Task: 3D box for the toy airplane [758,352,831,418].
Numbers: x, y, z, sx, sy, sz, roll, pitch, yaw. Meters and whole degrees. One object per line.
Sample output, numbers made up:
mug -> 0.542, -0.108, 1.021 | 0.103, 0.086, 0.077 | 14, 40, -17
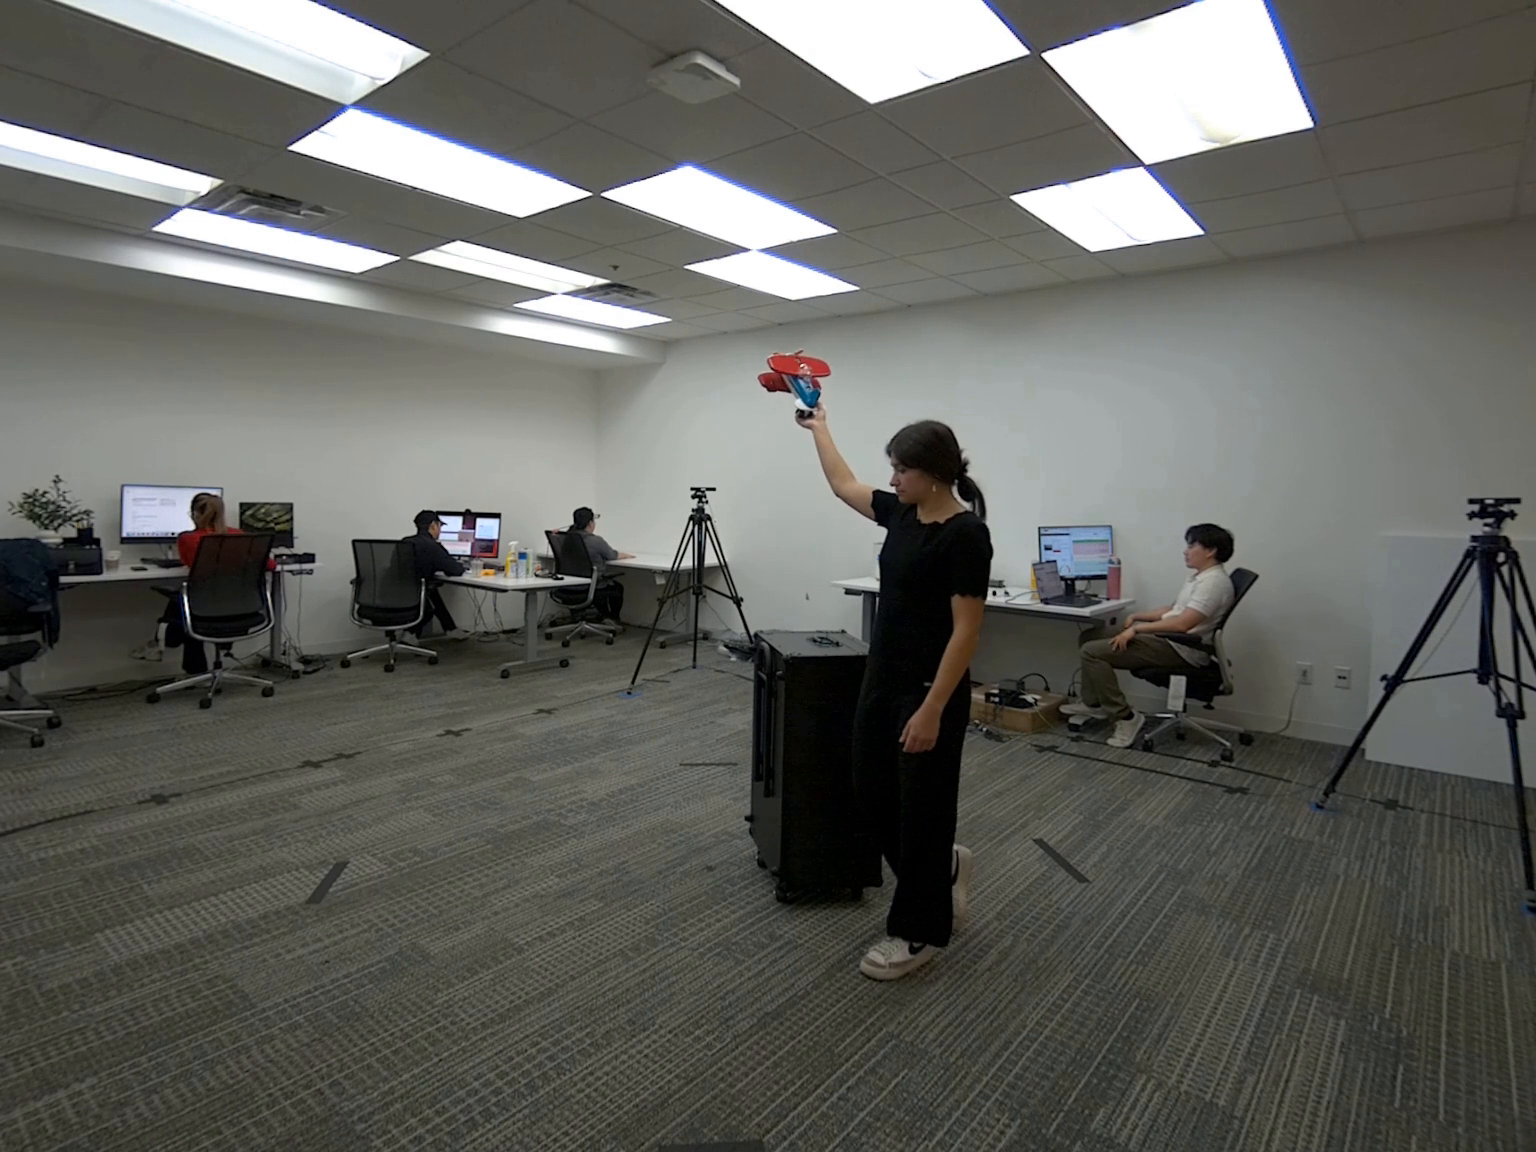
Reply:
toy airplane -> 0.100, -0.671, 2.996 | 0.266, 0.154, 0.248 | 35, 36, 19
